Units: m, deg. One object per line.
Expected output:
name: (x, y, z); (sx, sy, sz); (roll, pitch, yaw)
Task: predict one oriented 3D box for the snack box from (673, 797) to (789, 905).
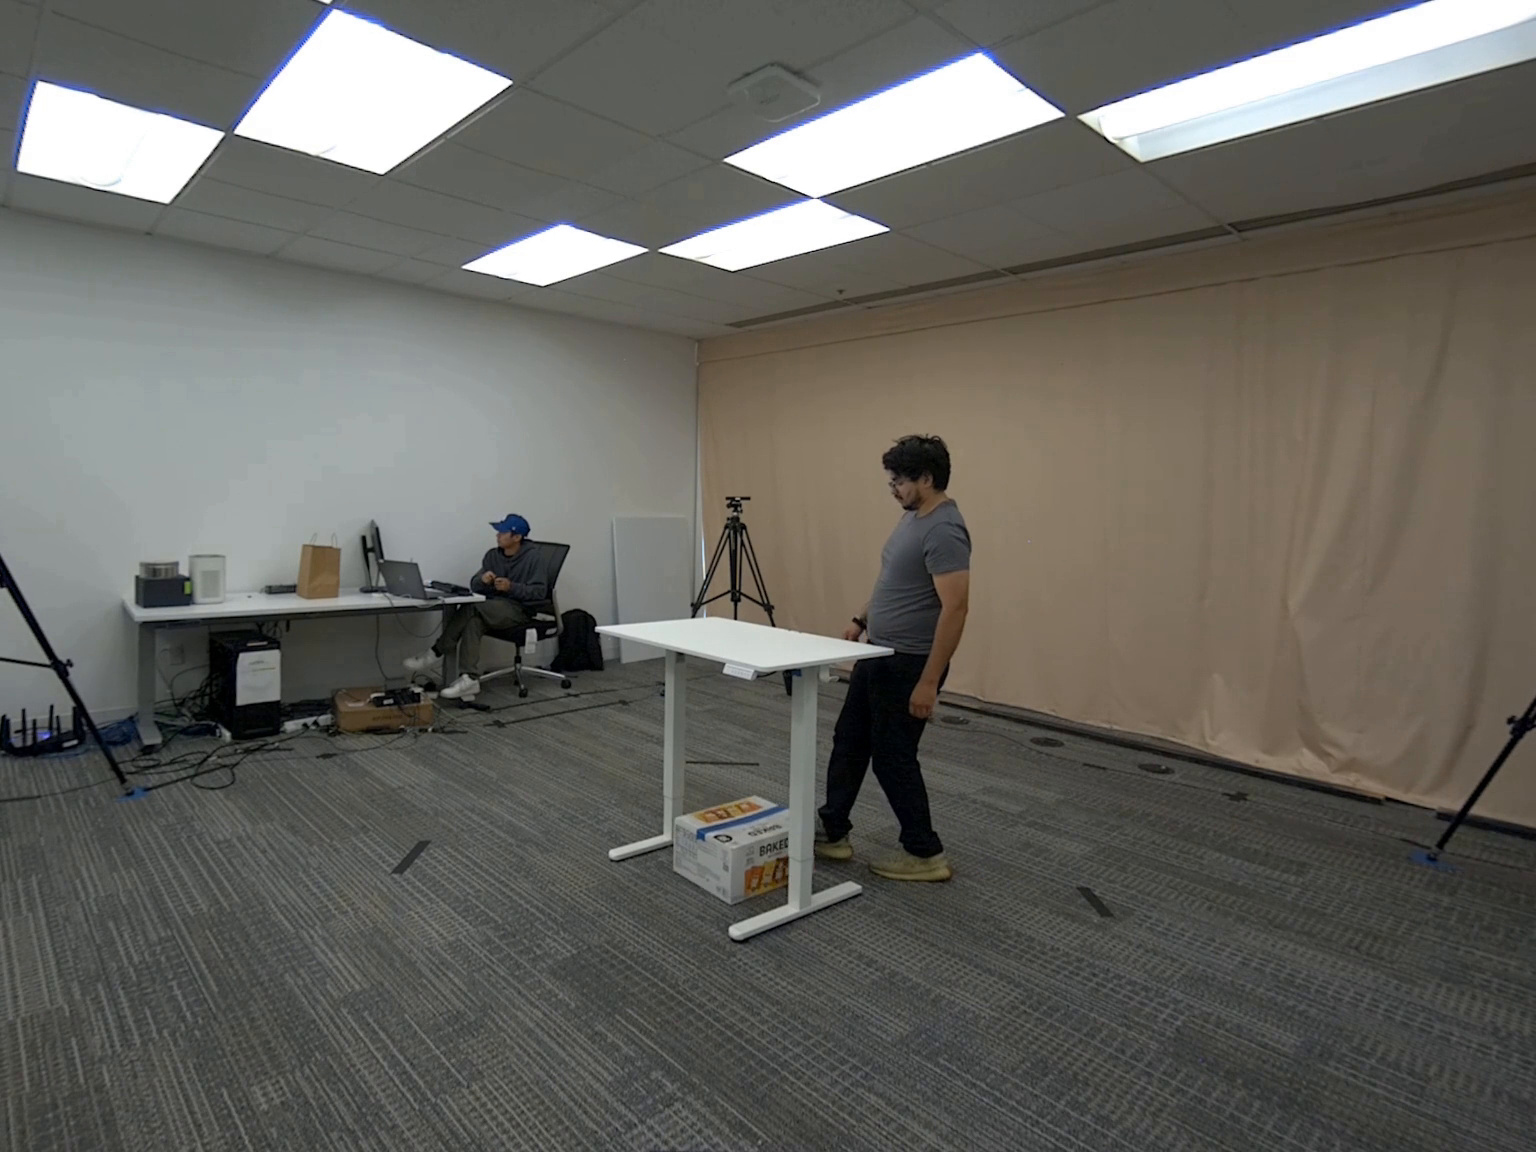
snack box: (-0.094, 1.005, 3.116); (0.396, 0.205, 0.349); (-3, 6, -41)
